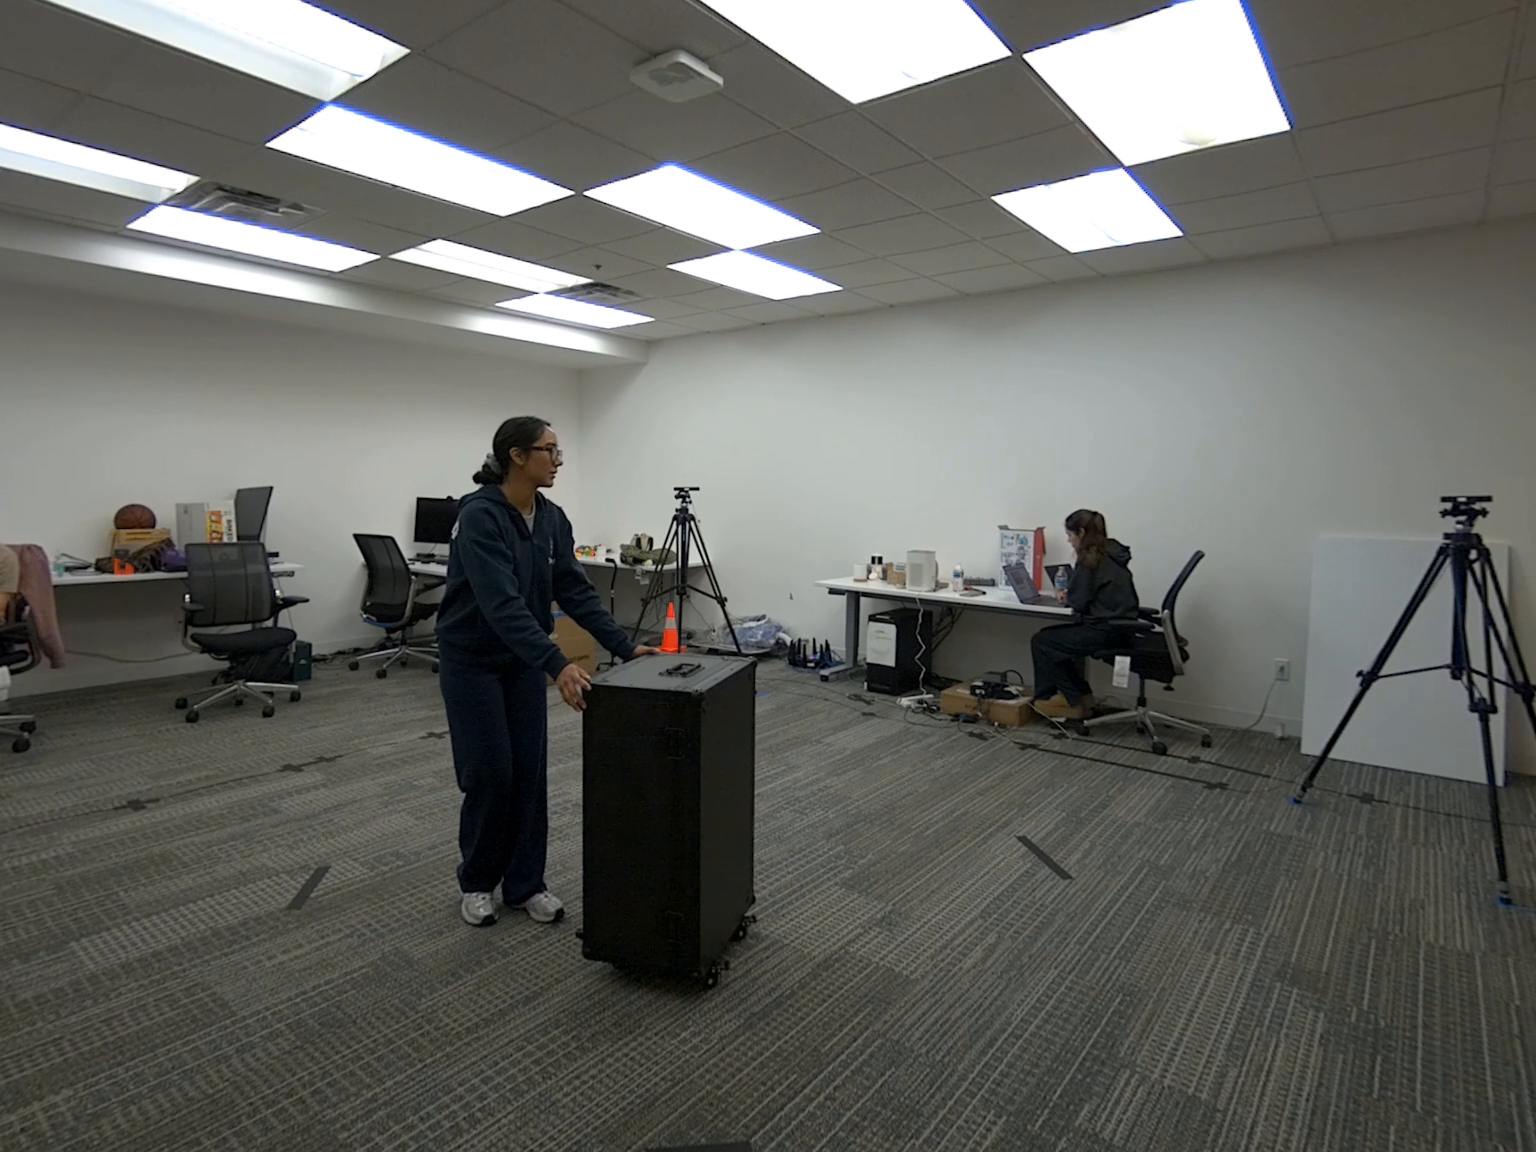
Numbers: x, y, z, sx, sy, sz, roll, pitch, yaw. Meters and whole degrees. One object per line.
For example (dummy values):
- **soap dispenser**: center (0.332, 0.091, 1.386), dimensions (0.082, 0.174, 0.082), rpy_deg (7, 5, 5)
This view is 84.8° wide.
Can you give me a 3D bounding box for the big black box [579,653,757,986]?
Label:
- **big black box**: center (-0.298, 0.699, 2.520), dimensions (0.404, 0.860, 0.512), rpy_deg (0, 3, 19)
